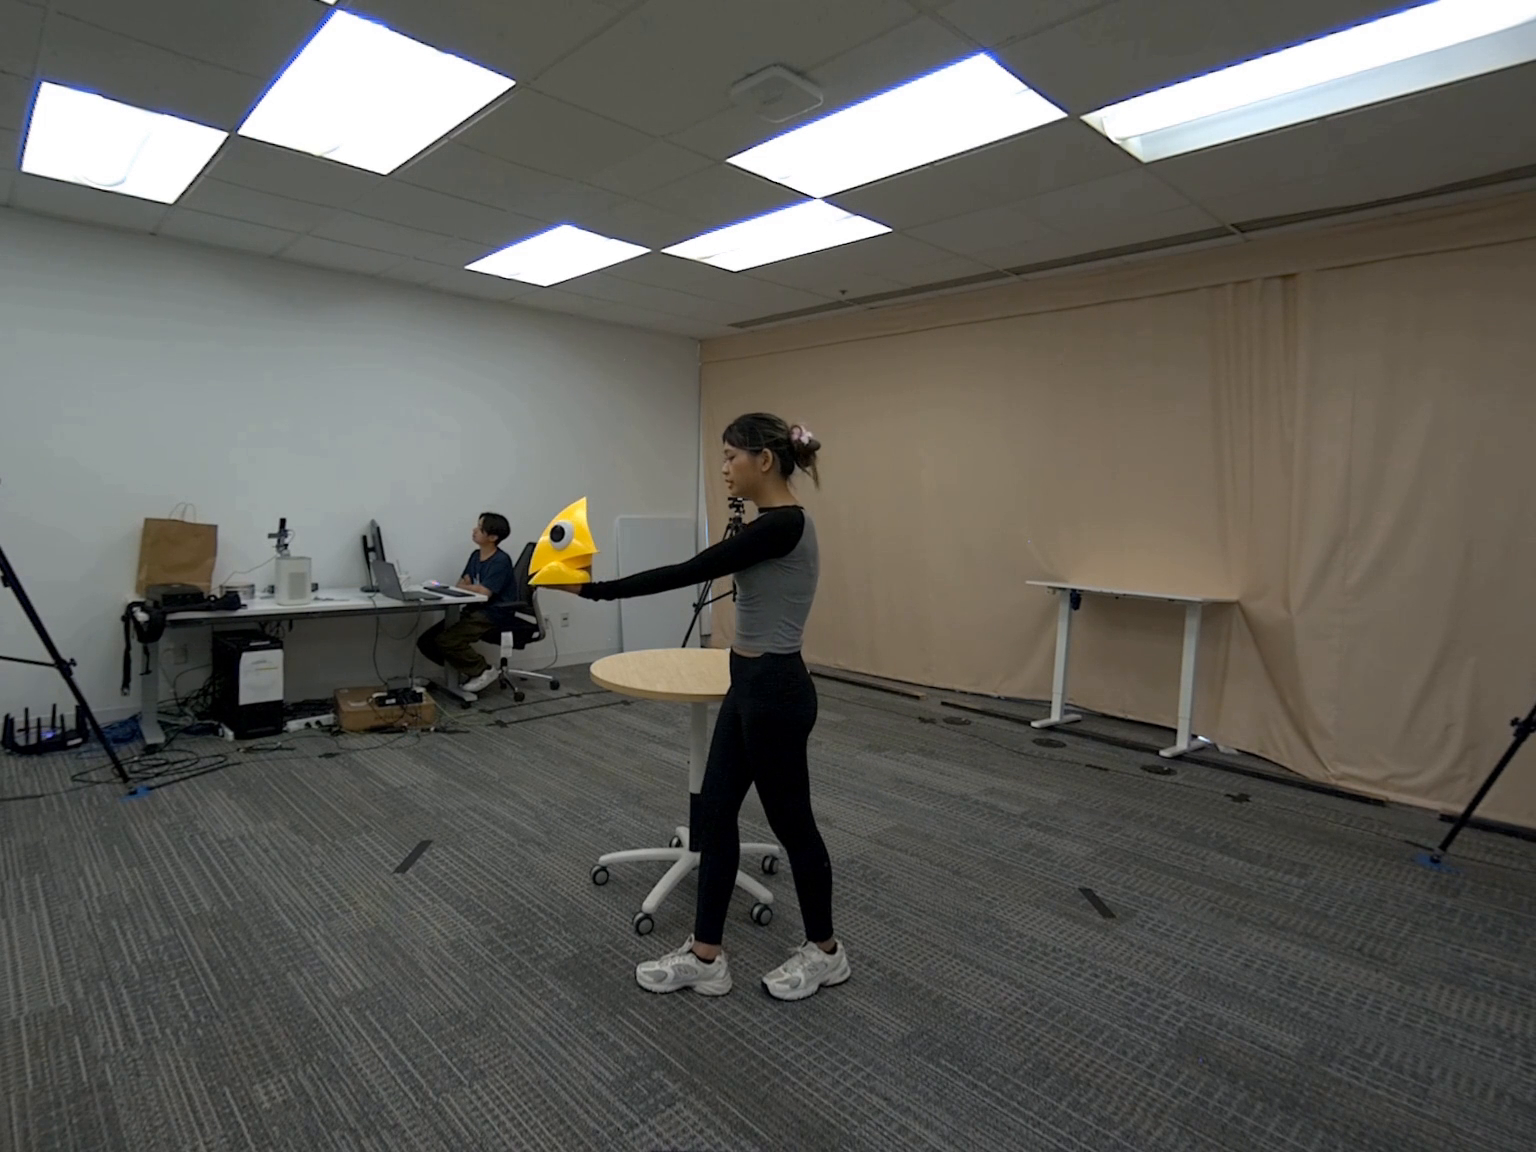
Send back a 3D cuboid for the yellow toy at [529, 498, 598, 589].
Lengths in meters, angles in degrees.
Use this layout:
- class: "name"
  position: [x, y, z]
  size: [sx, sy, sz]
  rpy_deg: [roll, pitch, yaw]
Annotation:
- class: "yellow toy"
  position: [-0.549, -0.095, 2.273]
  size: [0.192, 0.231, 0.206]
  rpy_deg: [-2, 1, -8]
